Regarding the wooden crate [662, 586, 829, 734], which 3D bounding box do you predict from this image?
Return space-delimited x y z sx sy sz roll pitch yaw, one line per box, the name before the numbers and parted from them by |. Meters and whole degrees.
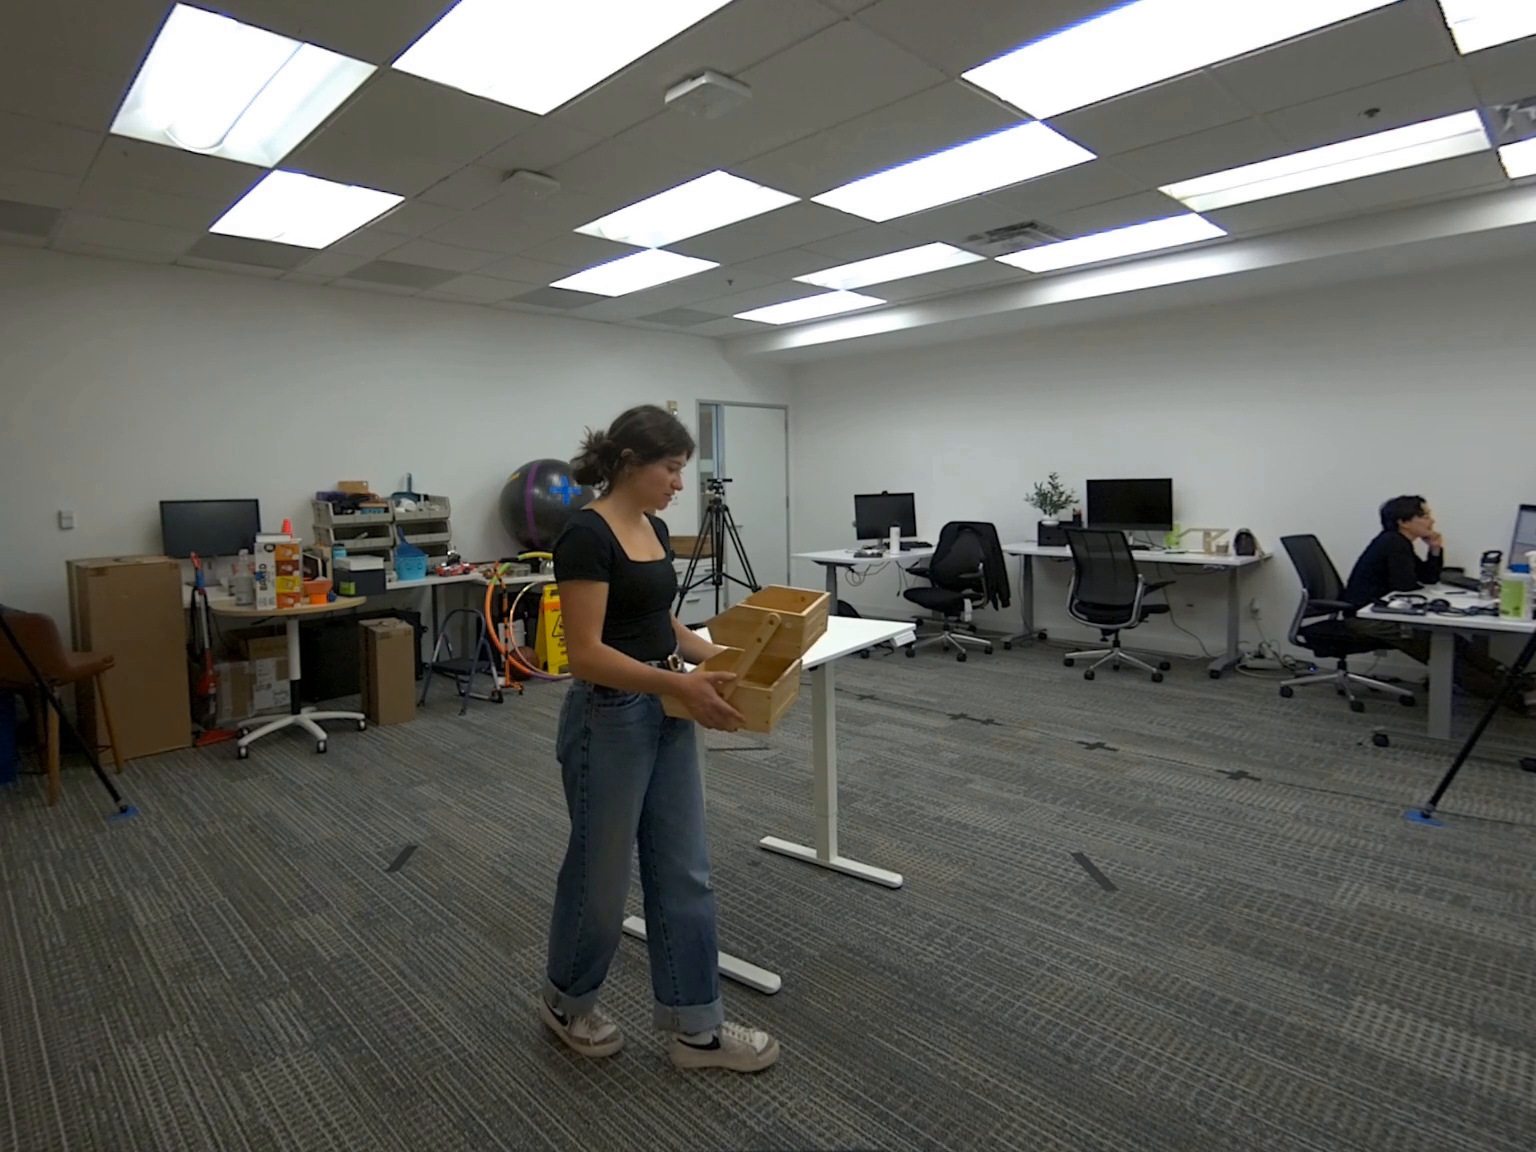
wooden crate | -0.043 0.162 1.935 0.307 0.271 0.321 8 9 15
